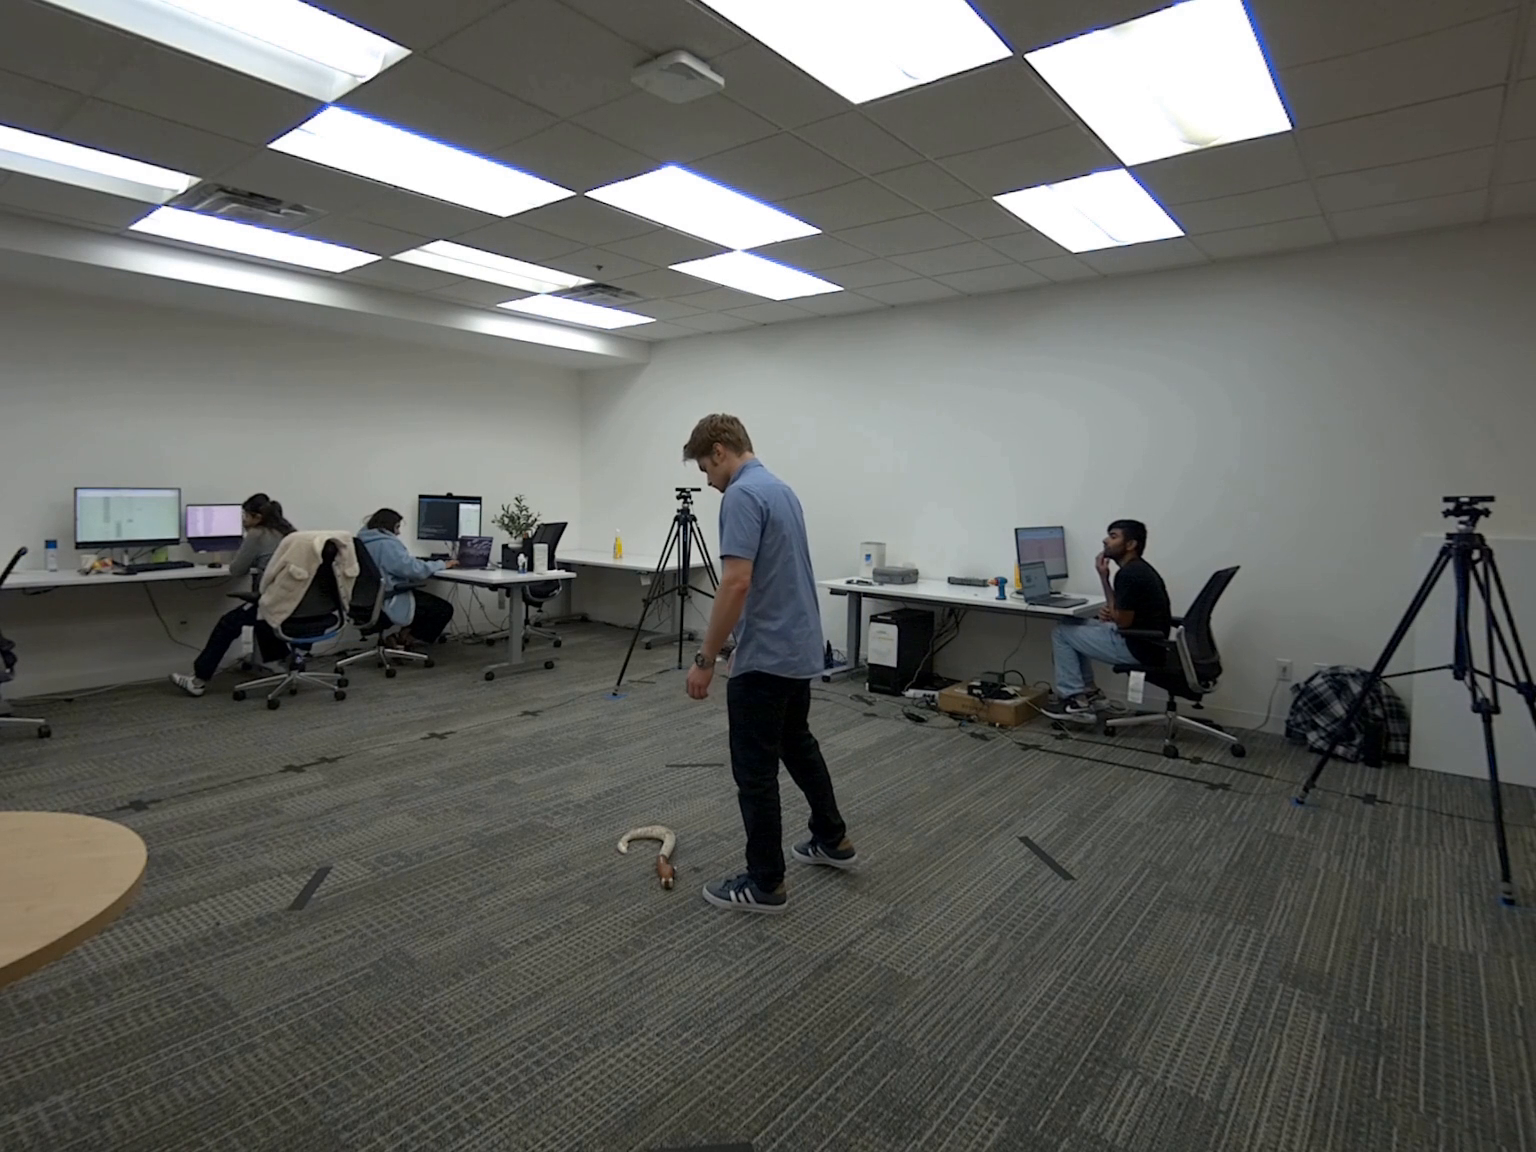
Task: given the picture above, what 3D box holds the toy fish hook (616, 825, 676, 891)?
[{"bbox_3d":[-0.452,1.042,3.171,0.223,0.048,0.513,-8,7,-10],"label":"toy fish hook"}]
